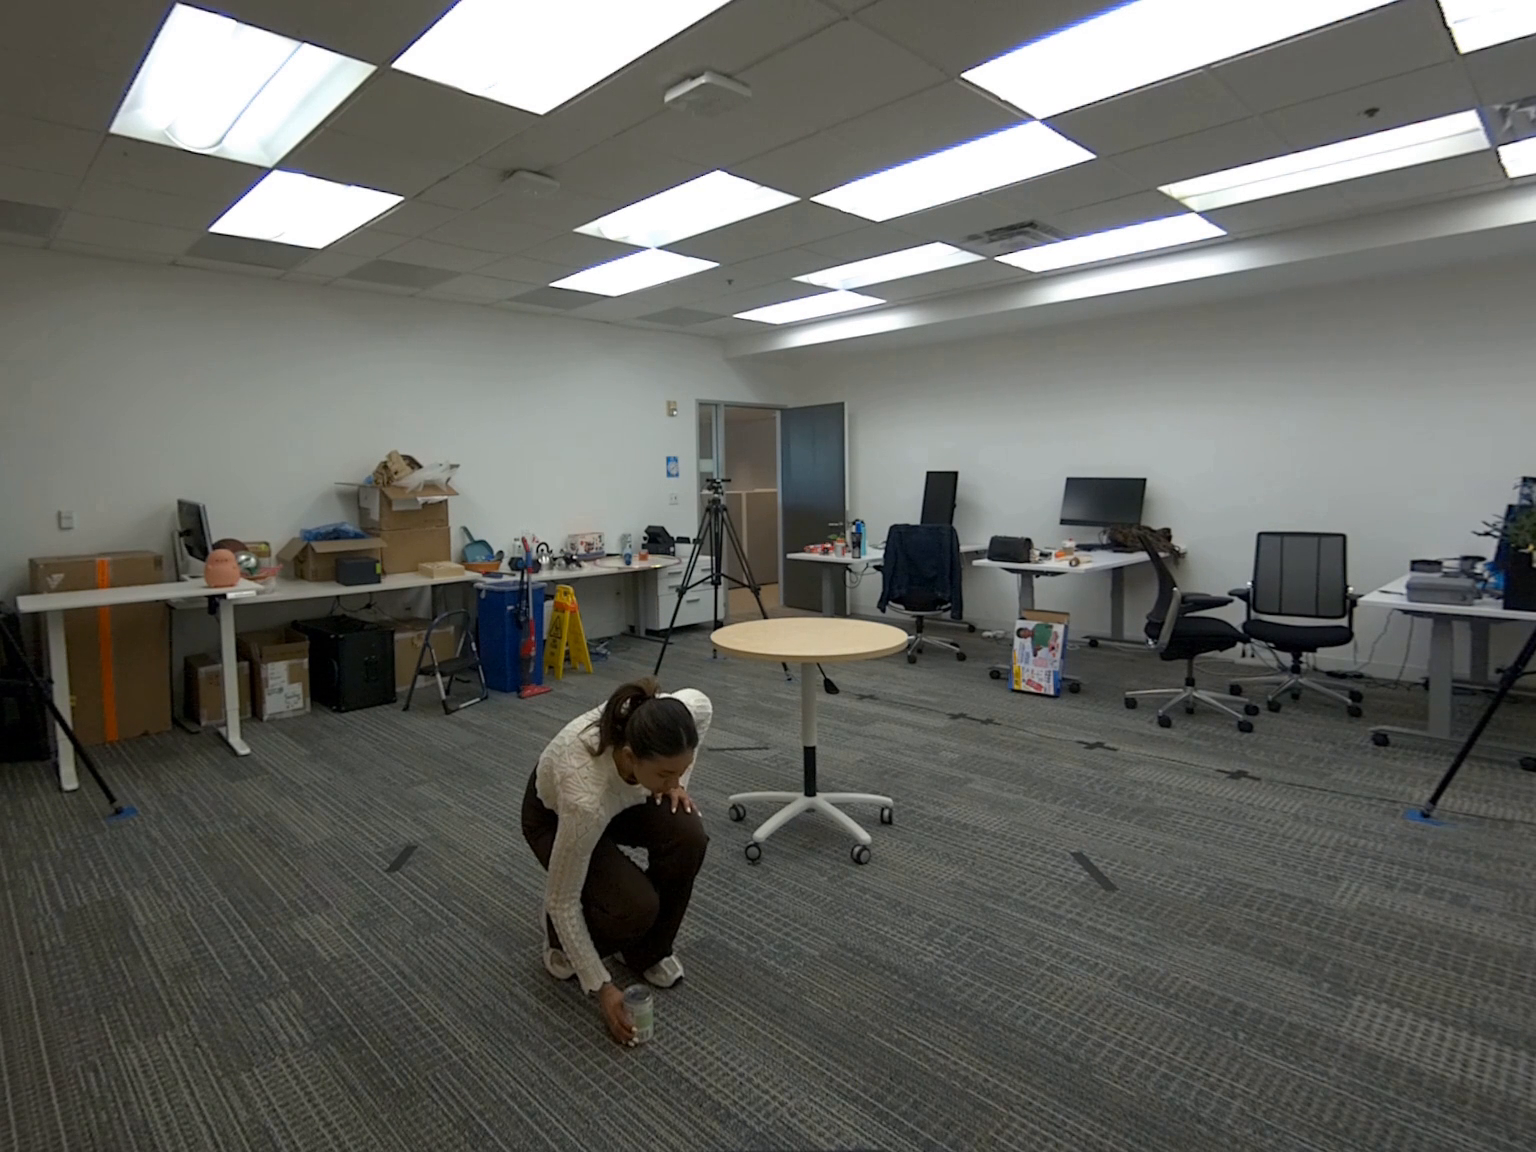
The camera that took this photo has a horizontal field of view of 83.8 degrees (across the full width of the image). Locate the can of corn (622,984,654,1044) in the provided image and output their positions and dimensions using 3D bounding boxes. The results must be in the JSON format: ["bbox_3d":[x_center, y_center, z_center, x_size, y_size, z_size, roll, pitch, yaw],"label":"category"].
[{"bbox_3d":[-0.331,1.110,2.162,0.074,0.110,0.074,-4,5,-1],"label":"can of corn"}]
